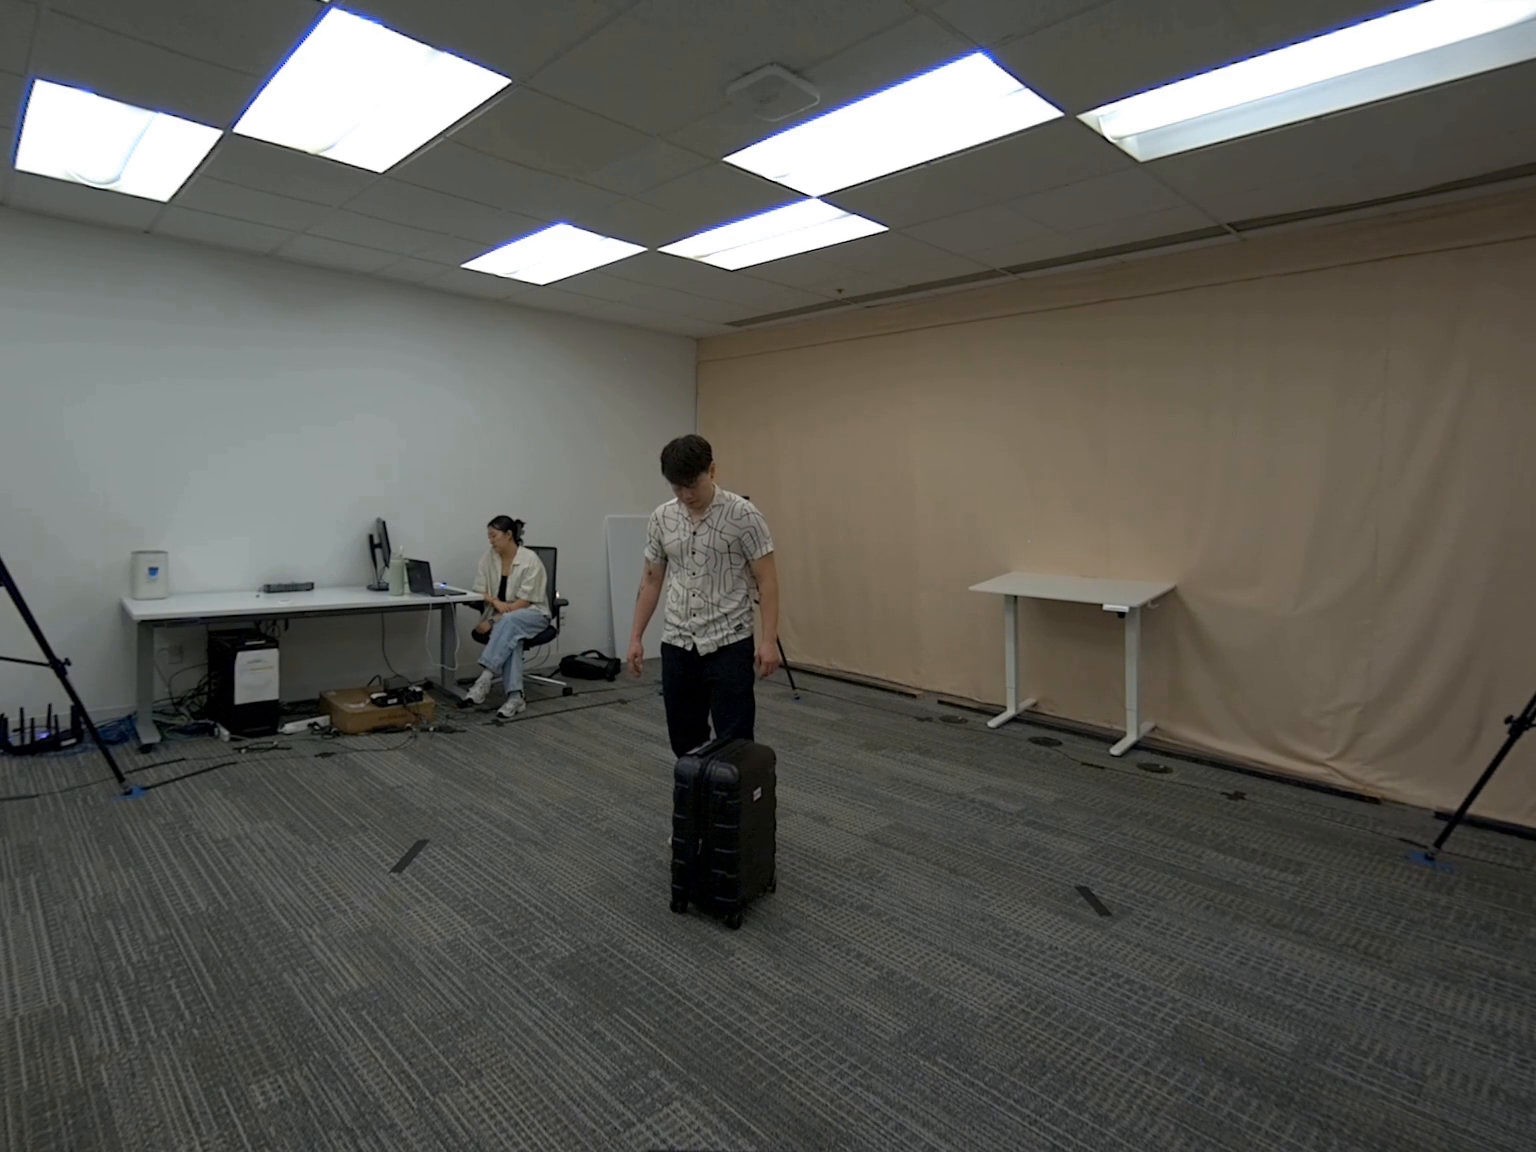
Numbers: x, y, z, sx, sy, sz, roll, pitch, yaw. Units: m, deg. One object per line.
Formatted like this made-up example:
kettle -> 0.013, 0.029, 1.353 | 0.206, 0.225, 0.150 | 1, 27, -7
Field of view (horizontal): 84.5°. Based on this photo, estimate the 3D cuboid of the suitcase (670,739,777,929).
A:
suitcase -> -0.147, 0.845, 2.874 | 0.253, 0.548, 0.369 | 3, 5, 24
